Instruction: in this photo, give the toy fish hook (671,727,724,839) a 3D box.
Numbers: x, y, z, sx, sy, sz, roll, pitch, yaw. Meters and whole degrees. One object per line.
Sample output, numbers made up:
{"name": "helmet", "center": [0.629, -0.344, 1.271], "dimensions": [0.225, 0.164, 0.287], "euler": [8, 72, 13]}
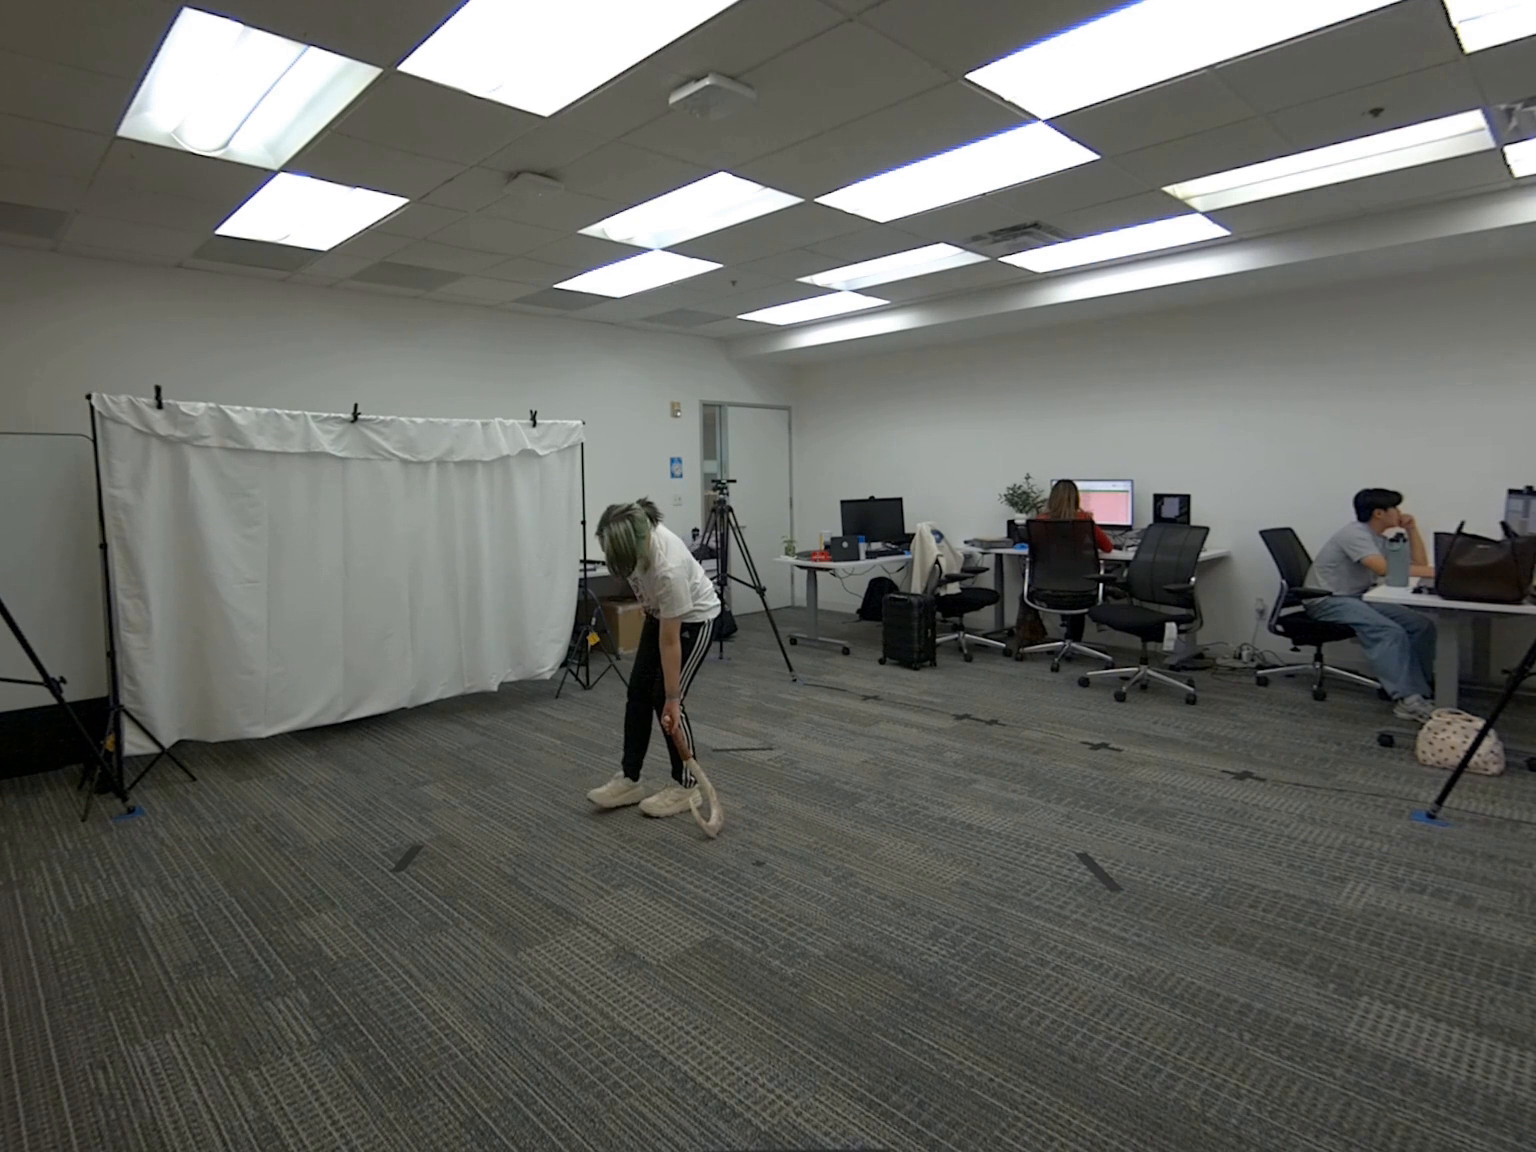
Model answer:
{"name": "toy fish hook", "center": [-0.300, 0.786, 3.373], "dimensions": [0.048, 0.506, 0.223], "euler": [-27, 1, 15]}
